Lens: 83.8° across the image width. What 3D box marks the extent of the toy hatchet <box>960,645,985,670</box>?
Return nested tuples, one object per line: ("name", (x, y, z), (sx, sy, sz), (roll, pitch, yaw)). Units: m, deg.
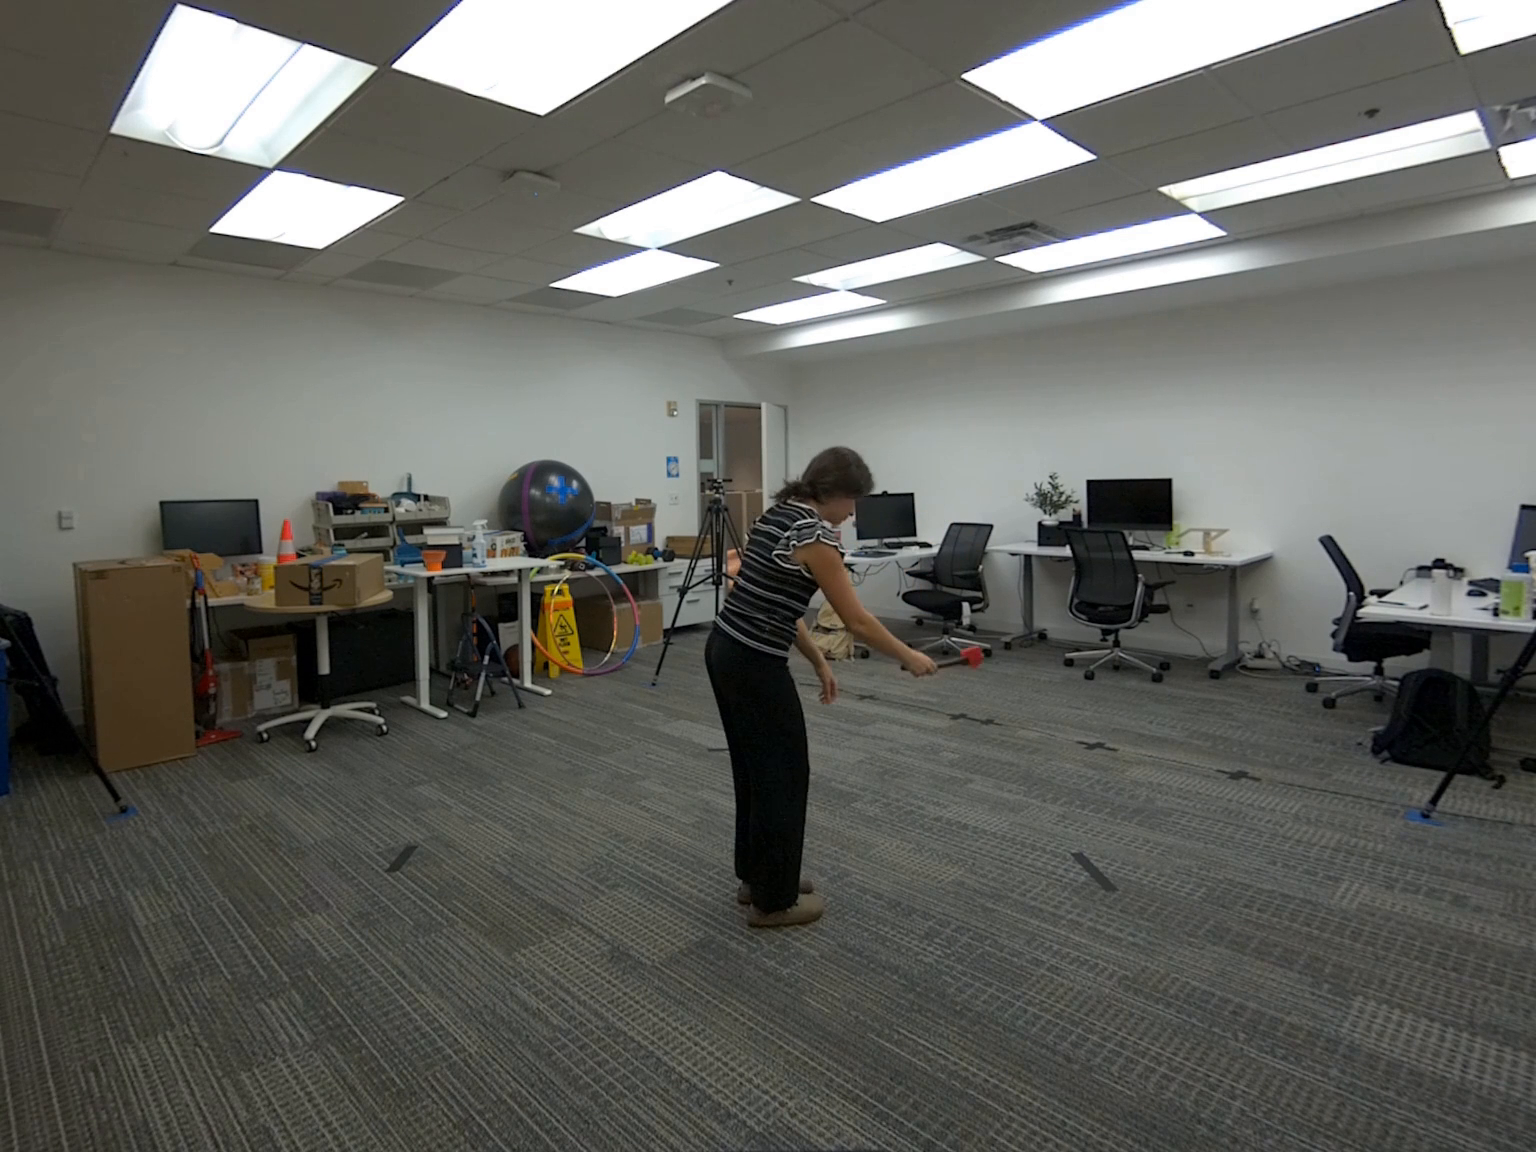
("toy hatchet", (0.562, 0.264, 2.751), (0.267, 0.030, 0.129), (5, -35, -12))
